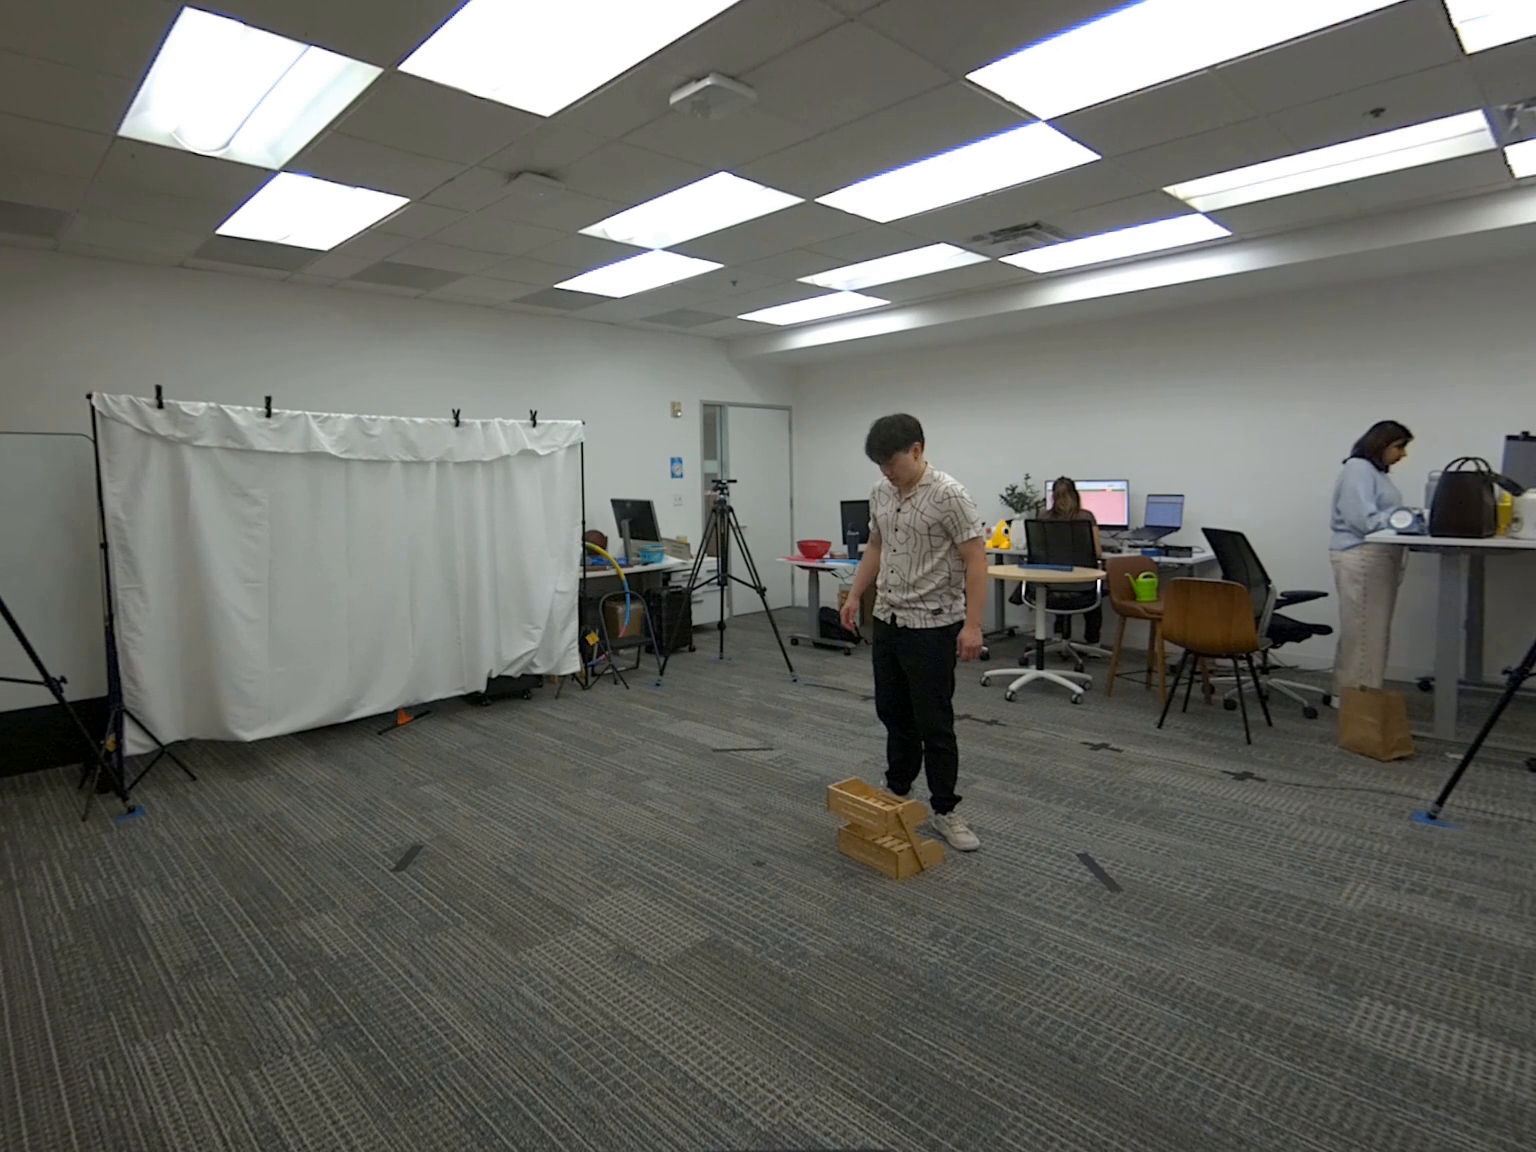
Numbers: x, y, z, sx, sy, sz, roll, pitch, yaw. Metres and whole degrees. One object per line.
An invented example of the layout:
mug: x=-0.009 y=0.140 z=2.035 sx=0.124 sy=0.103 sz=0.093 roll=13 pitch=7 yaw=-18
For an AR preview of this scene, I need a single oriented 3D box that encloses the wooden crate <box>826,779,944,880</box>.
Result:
wooden crate: x=0.437 y=0.903 z=3.132 sx=0.294 sy=0.272 sz=0.334 roll=-6 pitch=7 yaw=-37
